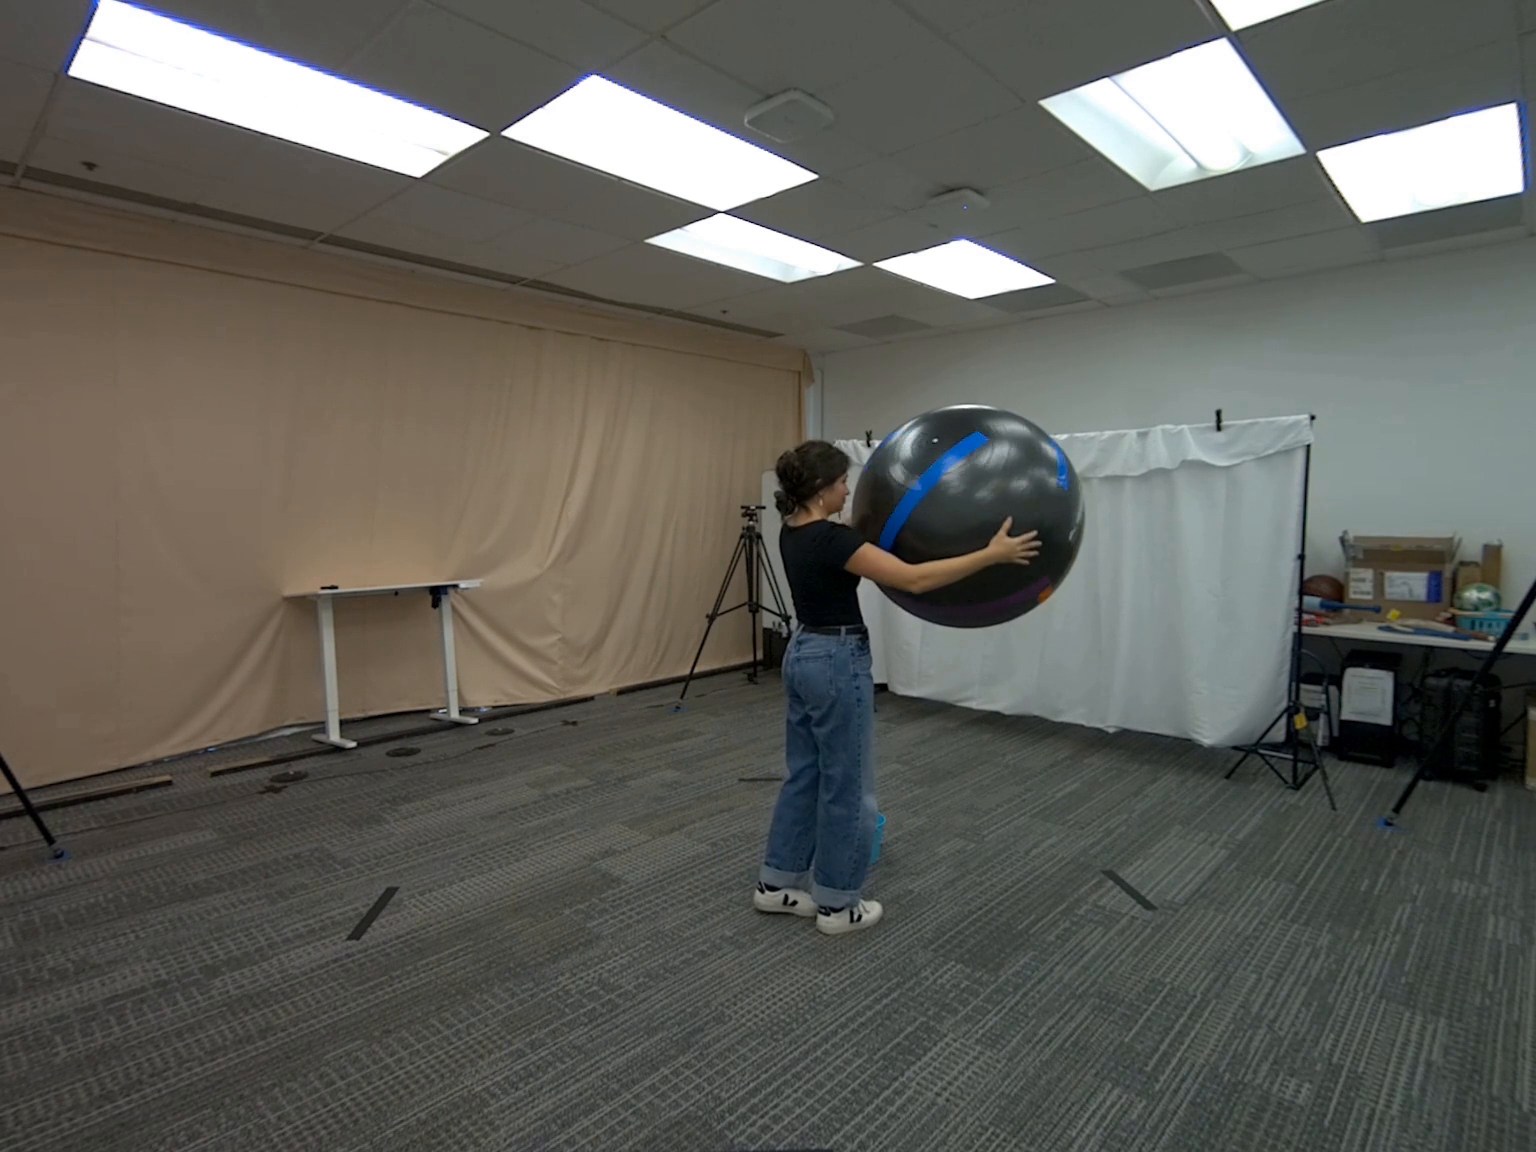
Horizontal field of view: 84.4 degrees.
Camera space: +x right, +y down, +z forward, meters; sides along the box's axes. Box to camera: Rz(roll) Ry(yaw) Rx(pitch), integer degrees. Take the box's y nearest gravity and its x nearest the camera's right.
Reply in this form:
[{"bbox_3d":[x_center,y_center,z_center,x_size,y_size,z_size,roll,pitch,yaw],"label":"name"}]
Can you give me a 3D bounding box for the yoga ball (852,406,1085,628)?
[{"bbox_3d":[0.681,-0.195,2.871,0.757,0.756,0.760,0,4,-2],"label":"yoga ball"}]
